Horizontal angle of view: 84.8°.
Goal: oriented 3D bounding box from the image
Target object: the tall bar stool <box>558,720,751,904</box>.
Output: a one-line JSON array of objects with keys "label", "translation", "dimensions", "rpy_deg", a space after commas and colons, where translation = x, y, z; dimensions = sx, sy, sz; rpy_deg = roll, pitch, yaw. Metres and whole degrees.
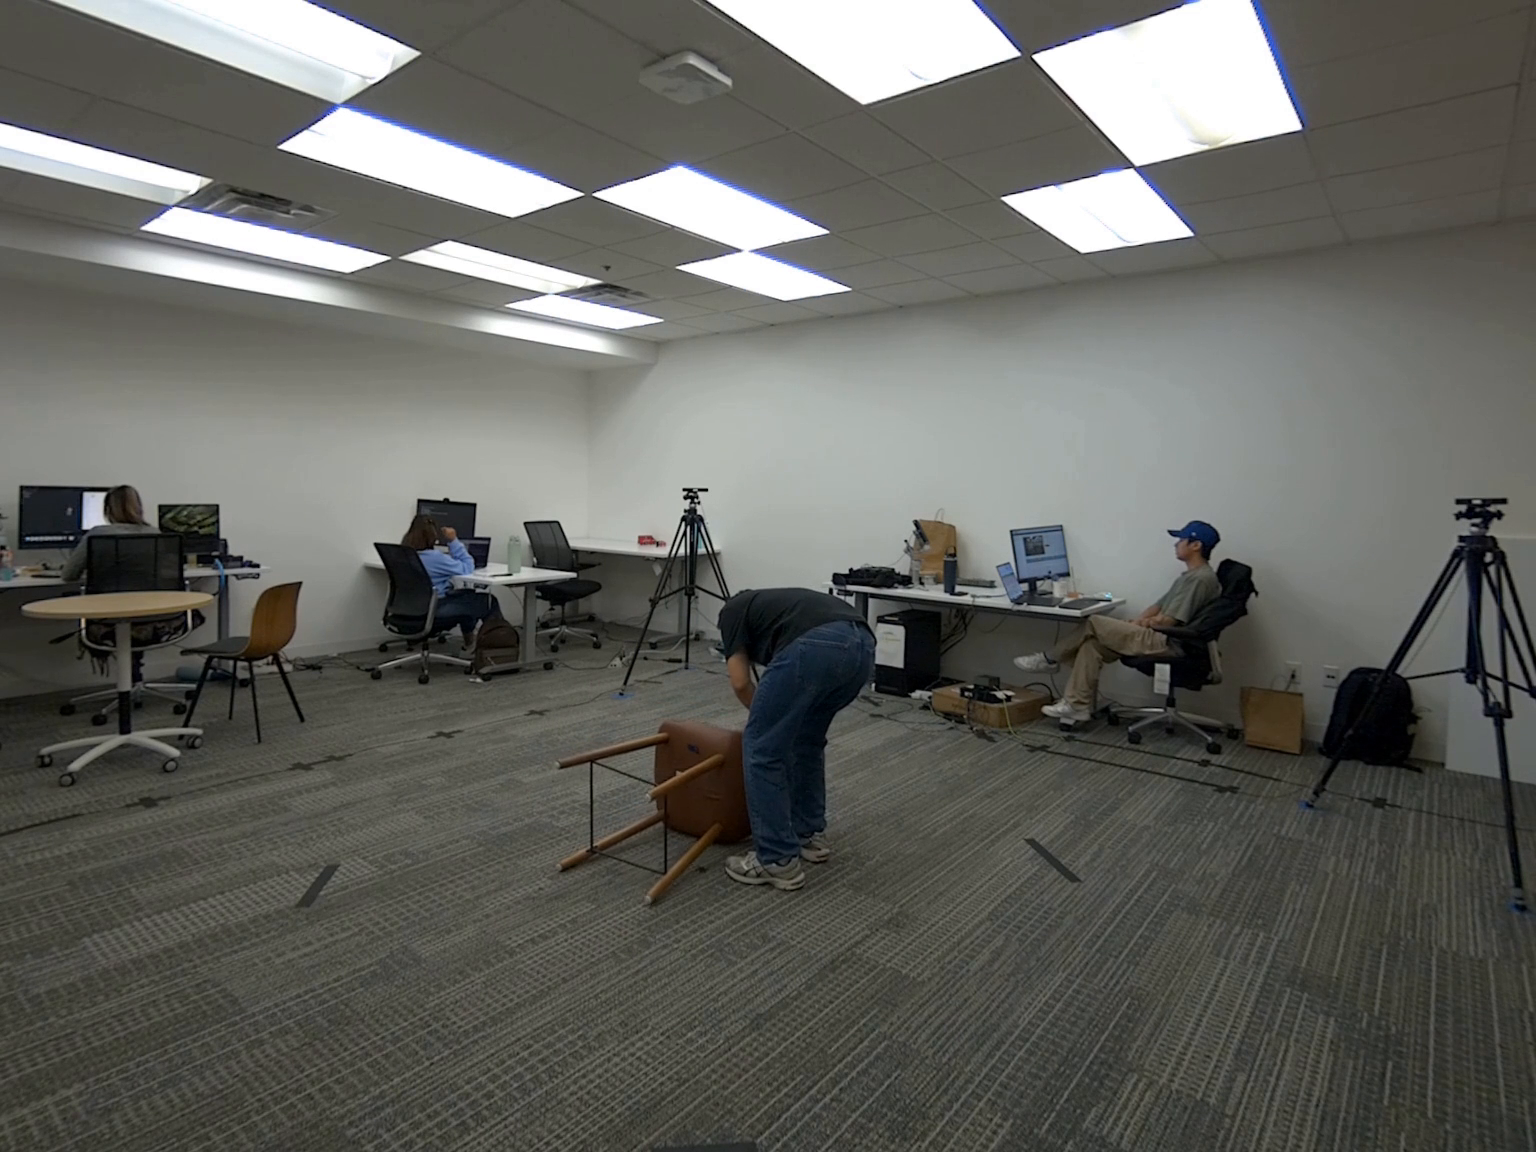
[{"label": "tall bar stool", "translation": [-0.348, 0.828, 3.282], "dimensions": [0.482, 0.454, 0.867], "rpy_deg": [3, 7, 35]}]
